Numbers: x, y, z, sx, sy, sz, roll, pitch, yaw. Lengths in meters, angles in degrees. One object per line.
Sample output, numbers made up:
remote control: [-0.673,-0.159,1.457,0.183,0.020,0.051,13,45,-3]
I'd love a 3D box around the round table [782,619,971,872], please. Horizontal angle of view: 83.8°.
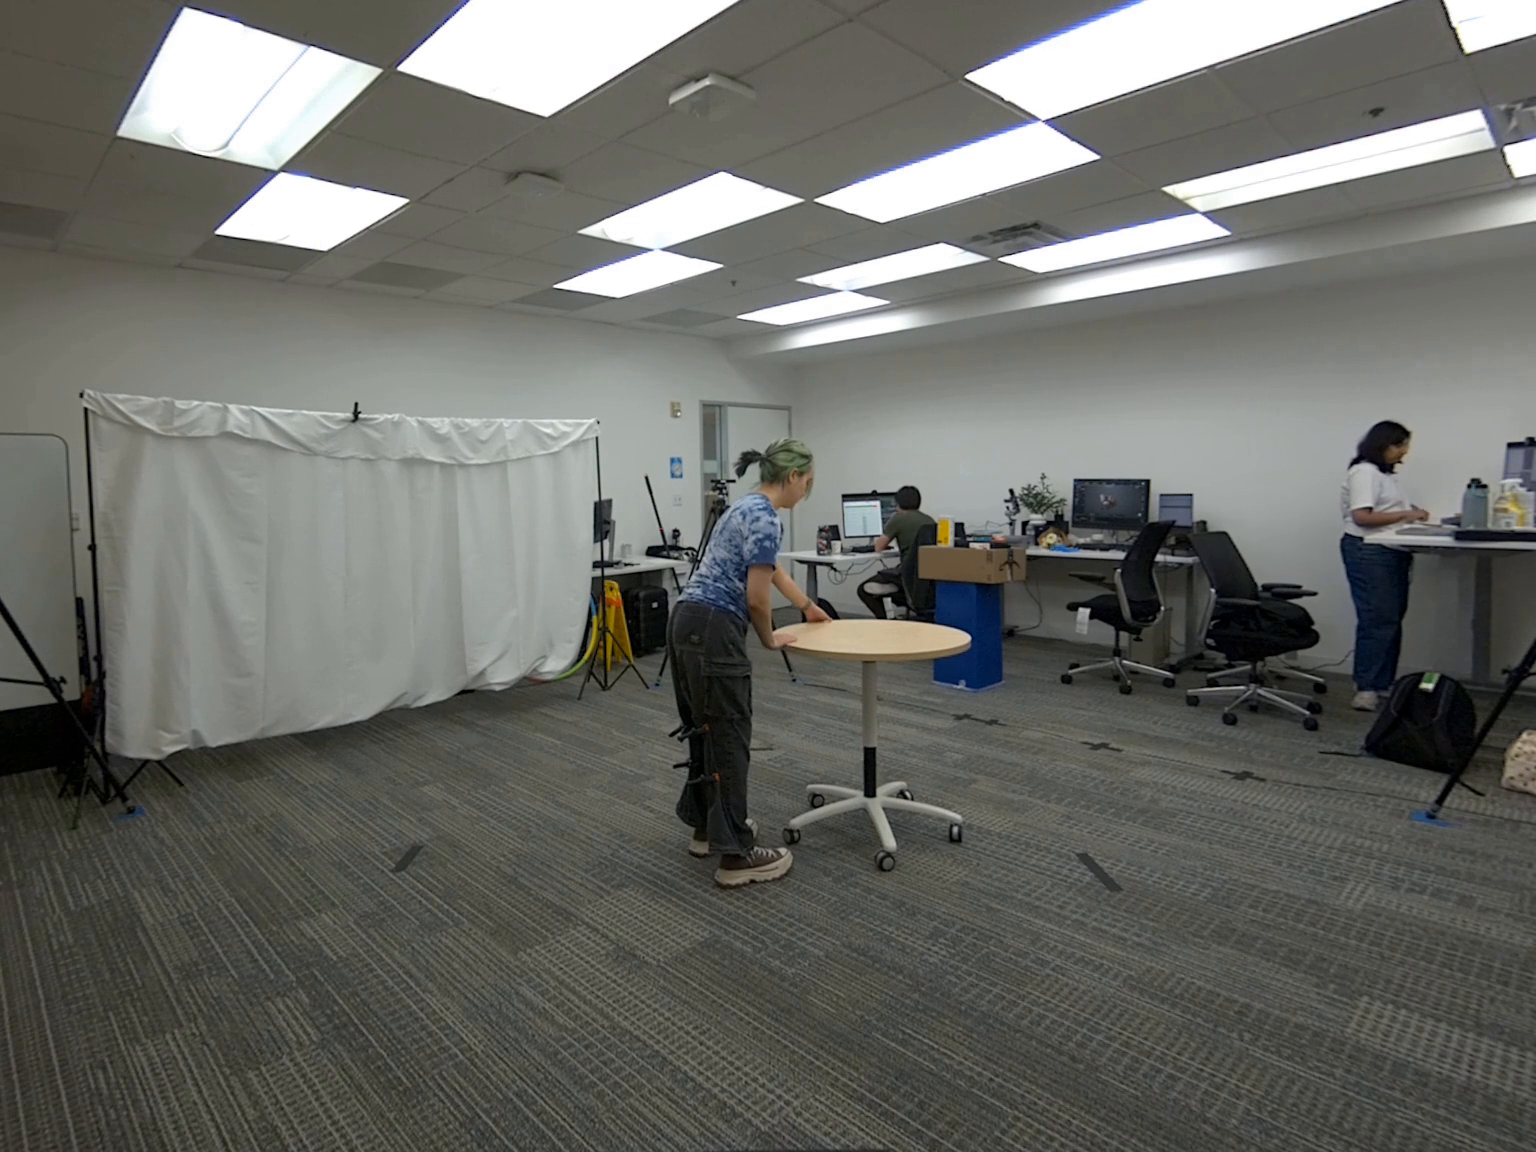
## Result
round table: [0.400,0.623,3.371,0.763,0.791,0.767,-1,4,-2]
